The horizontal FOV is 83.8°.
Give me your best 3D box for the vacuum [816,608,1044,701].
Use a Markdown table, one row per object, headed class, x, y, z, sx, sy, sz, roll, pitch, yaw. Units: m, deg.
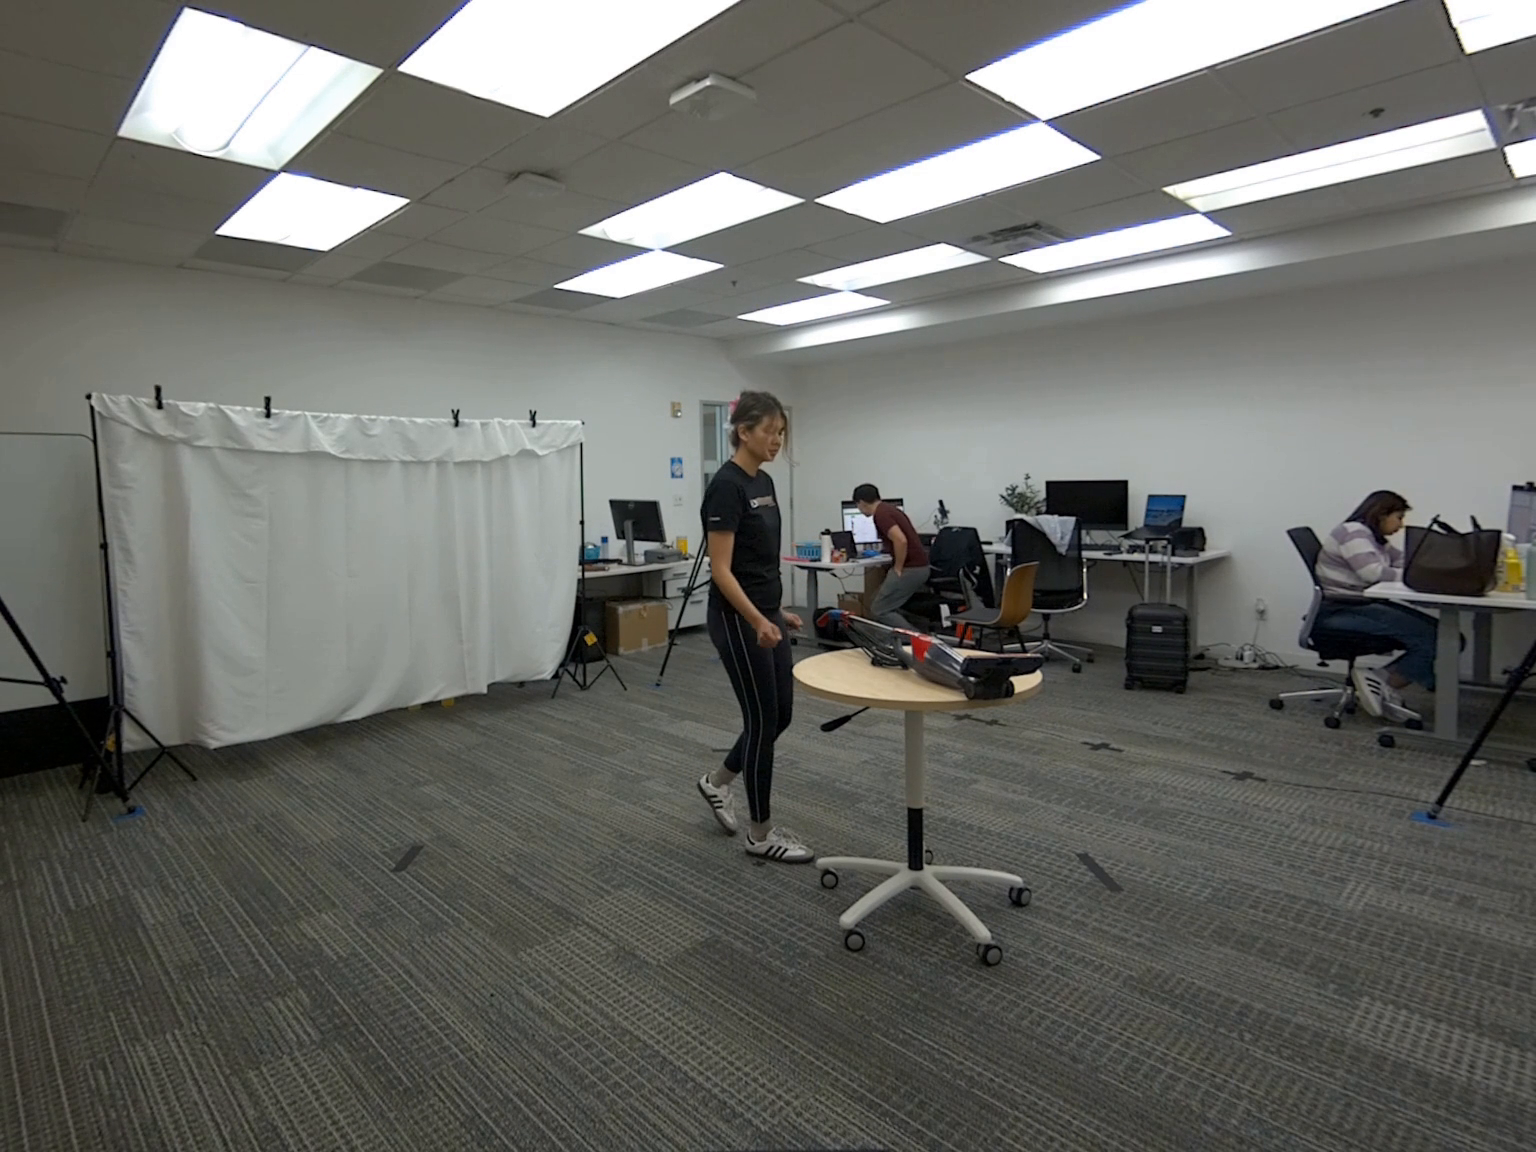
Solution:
| class | x | y | z | sx | sy | sz | roll | pitch | yaw |
| --- | --- | --- | --- | --- | --- | --- | --- | --- | --- |
| vacuum | 0.411 | 0.242 | 2.777 | 0.247 | 0.144 | 1.074 | 1 | 4 | -24 |
